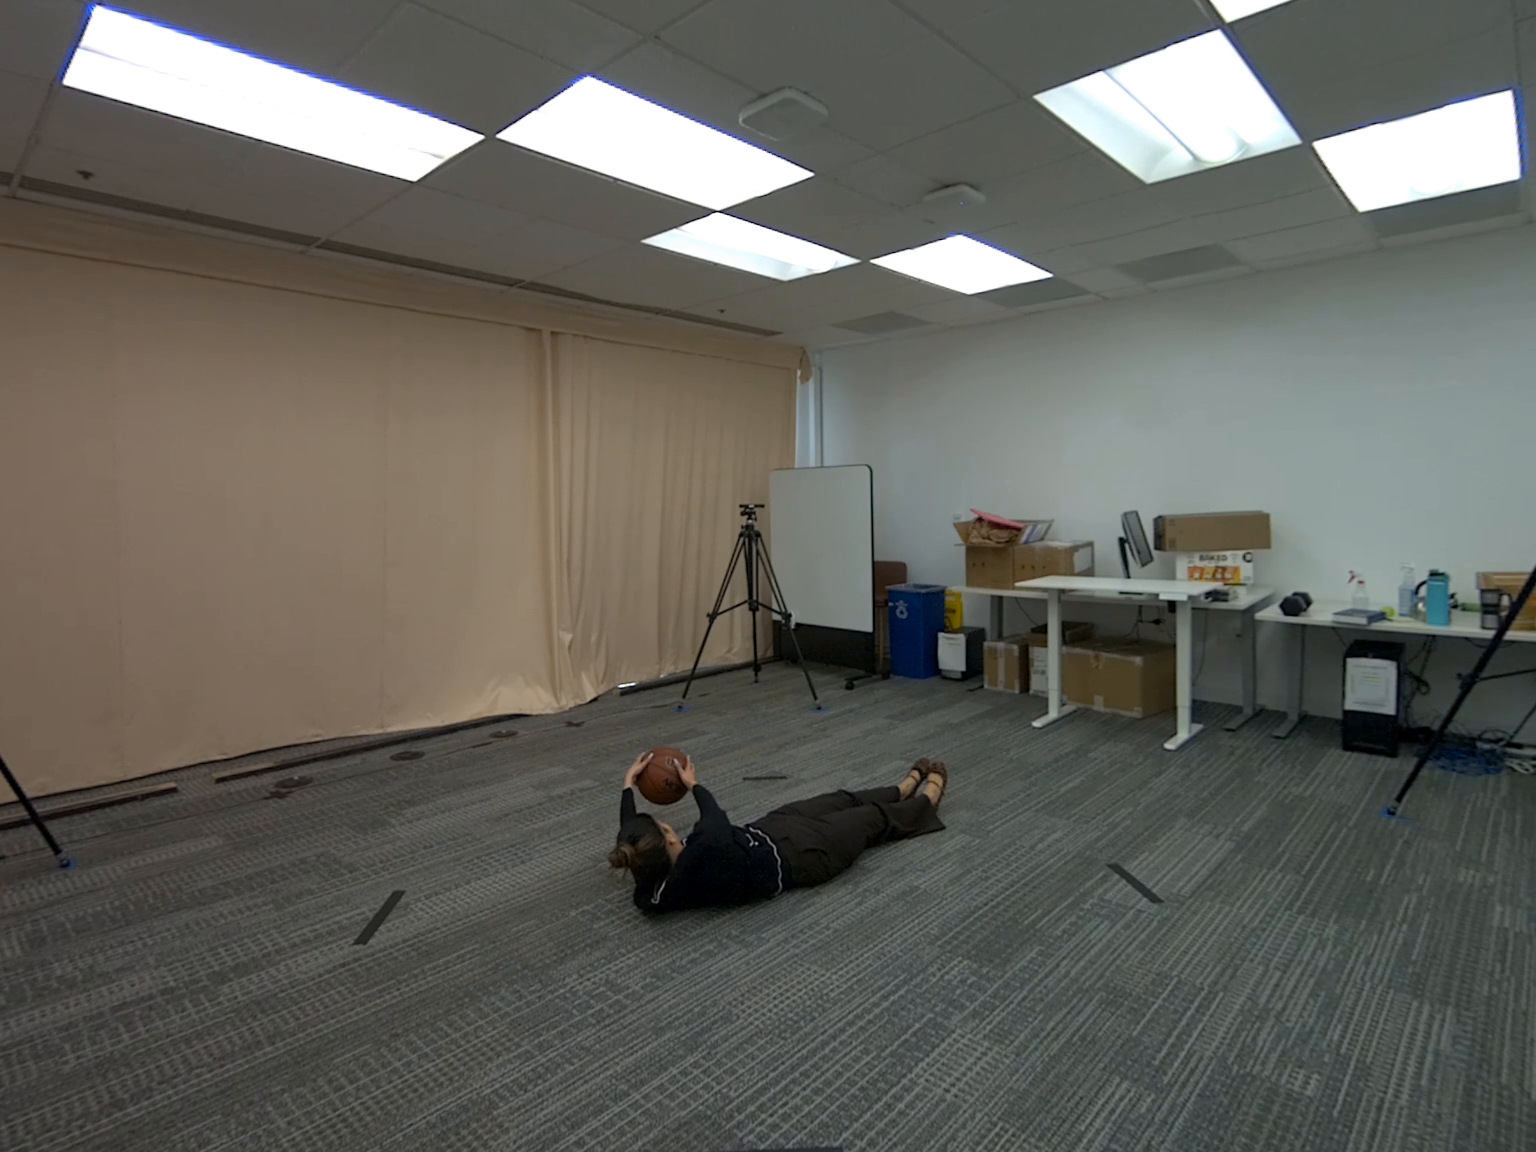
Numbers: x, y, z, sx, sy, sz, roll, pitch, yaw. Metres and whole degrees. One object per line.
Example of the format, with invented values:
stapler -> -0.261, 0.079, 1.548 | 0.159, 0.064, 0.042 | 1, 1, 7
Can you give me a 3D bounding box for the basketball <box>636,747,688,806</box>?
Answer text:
basketball -> -0.436, 0.828, 3.494 | 0.236, 0.235, 0.237 | -1, 4, -2
